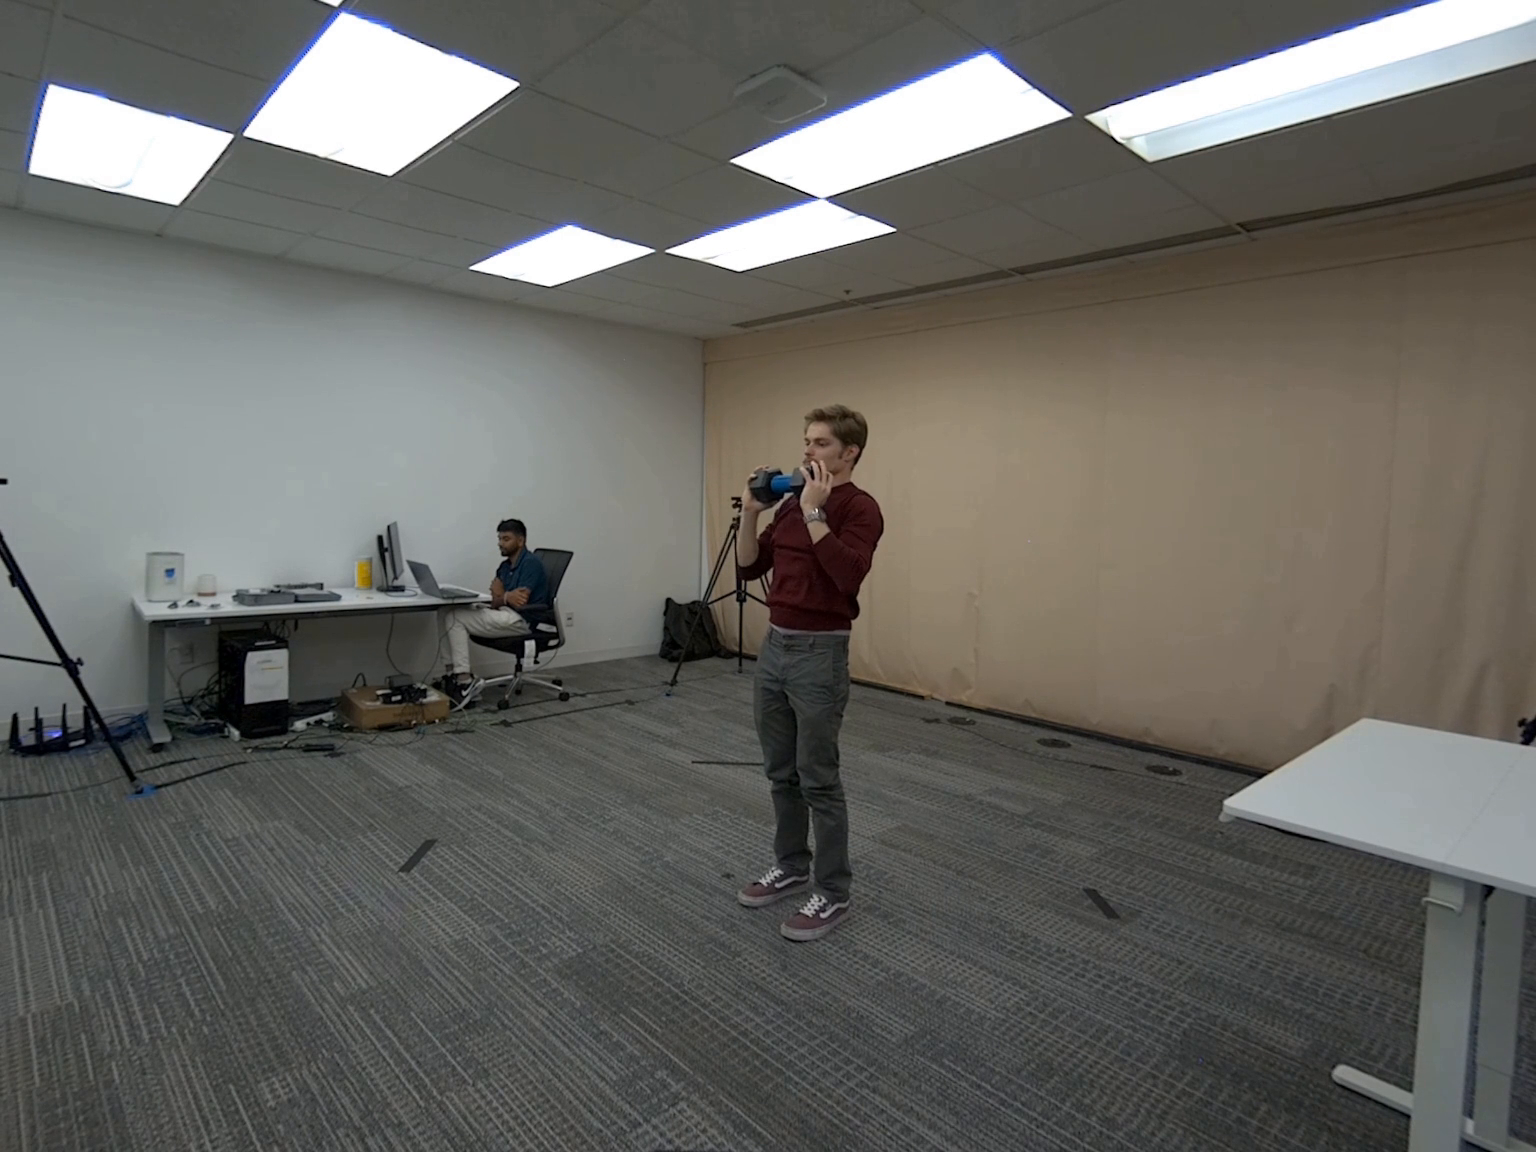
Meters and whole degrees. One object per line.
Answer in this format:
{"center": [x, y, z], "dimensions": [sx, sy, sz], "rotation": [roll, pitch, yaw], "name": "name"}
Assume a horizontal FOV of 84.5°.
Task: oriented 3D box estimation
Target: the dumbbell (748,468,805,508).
{"center": [0.064, -0.320, 2.762], "dimensions": [0.106, 0.123, 0.300], "rotation": [26, -14, -32], "name": "dumbbell"}
